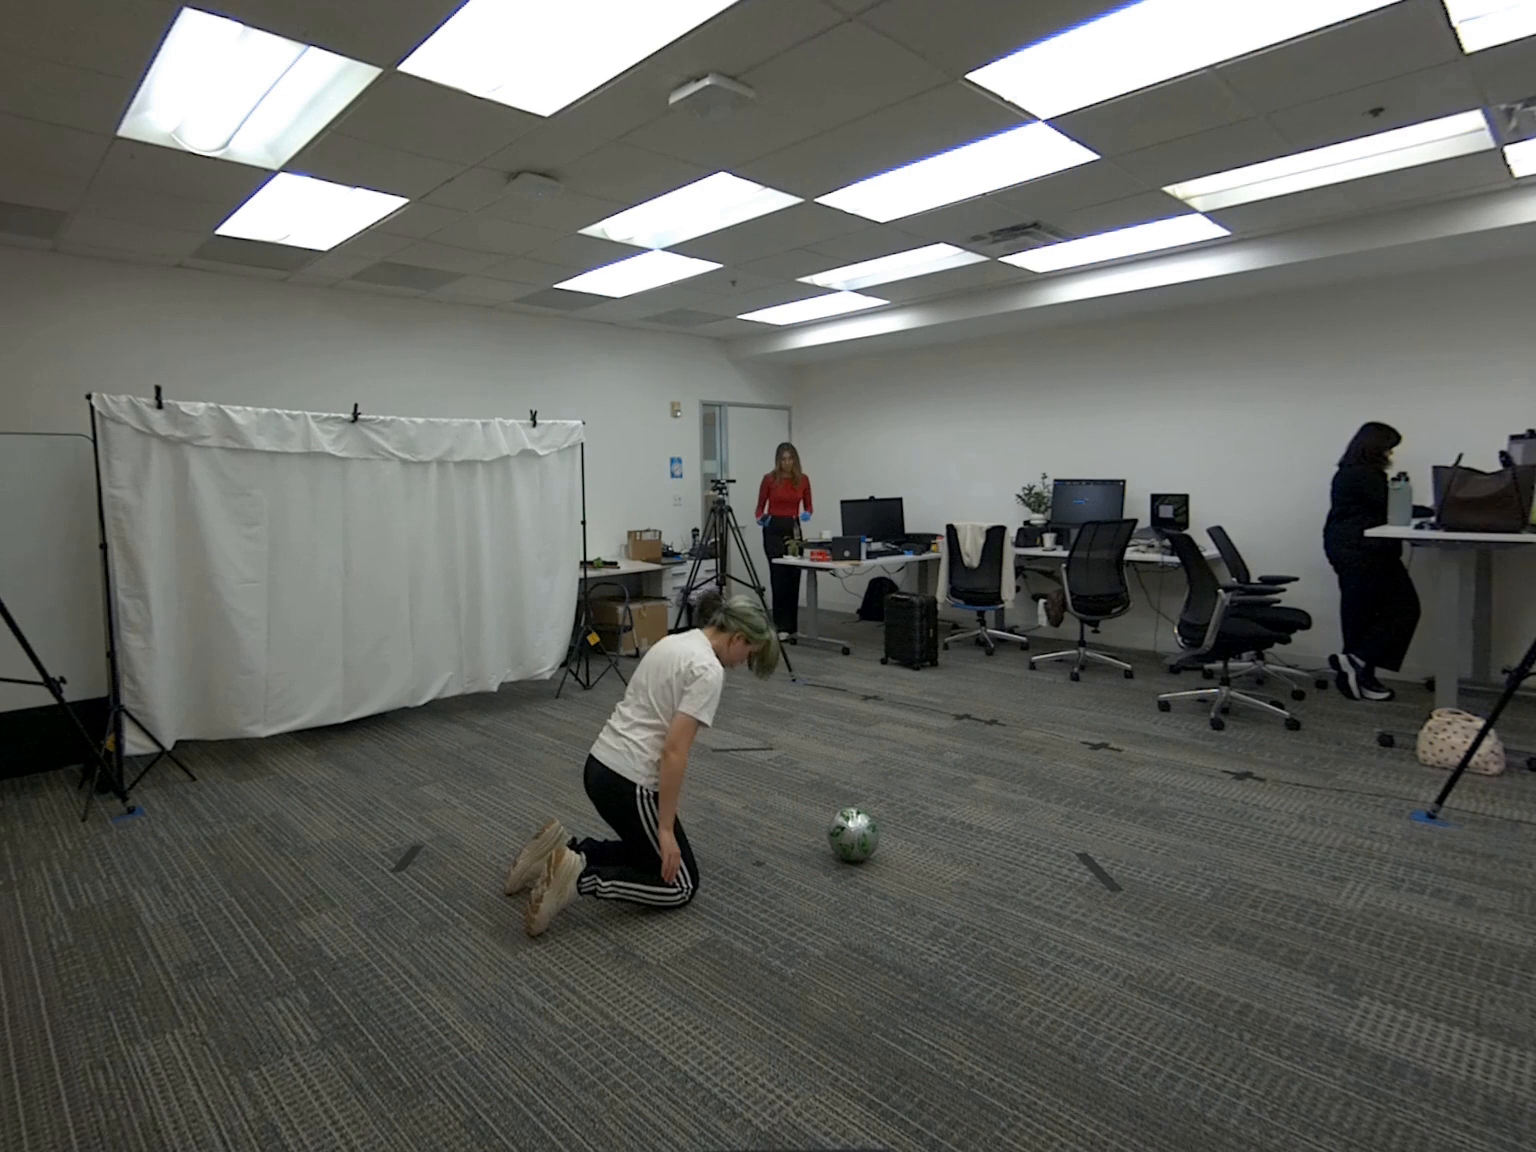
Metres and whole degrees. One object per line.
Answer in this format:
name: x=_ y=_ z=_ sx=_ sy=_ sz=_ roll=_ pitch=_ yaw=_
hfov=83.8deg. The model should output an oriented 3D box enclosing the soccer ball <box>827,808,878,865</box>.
soccer ball: x=0.311 y=0.943 z=3.123 sx=0.187 sy=0.187 sz=0.188 roll=-1 pitch=5 yaw=-2
